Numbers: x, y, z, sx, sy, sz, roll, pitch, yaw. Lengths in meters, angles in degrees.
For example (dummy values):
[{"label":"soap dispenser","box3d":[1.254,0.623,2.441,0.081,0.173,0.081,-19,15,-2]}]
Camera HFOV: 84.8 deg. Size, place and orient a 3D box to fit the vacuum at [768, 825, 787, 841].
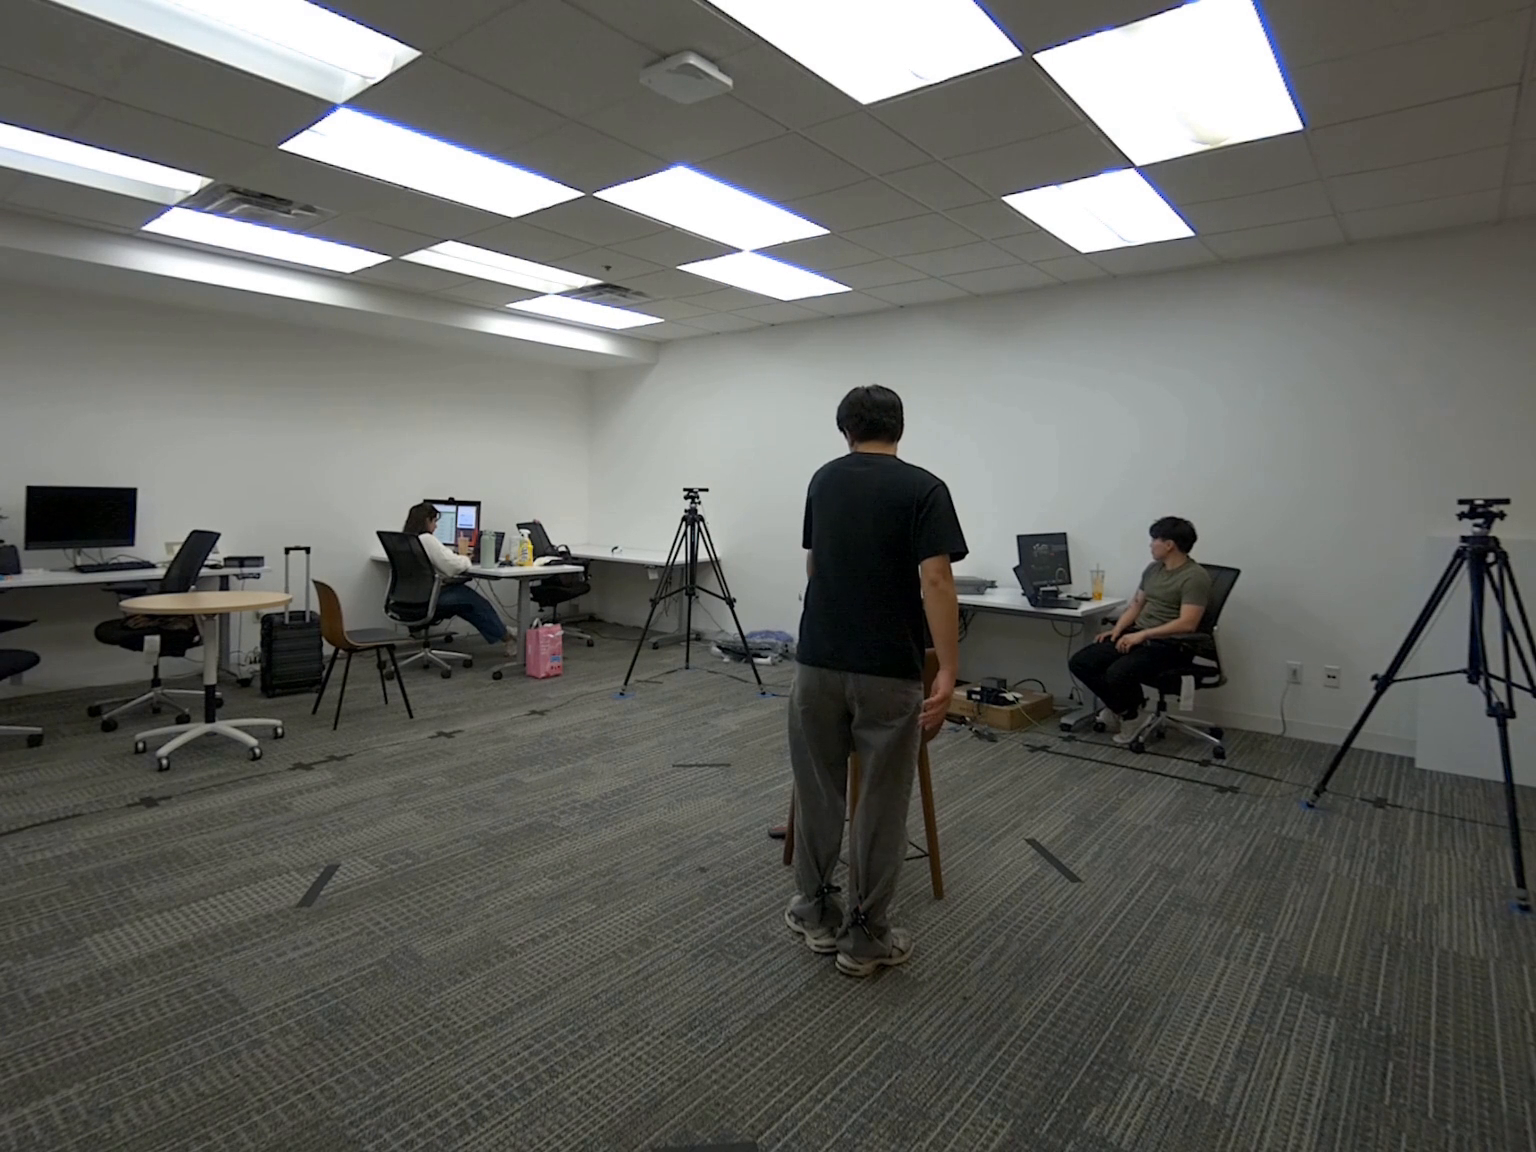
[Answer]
[{"label":"vacuum","box3d":[0.161,0.554,3.232,0.251,1.031,0.147,1,20,-7]}]
